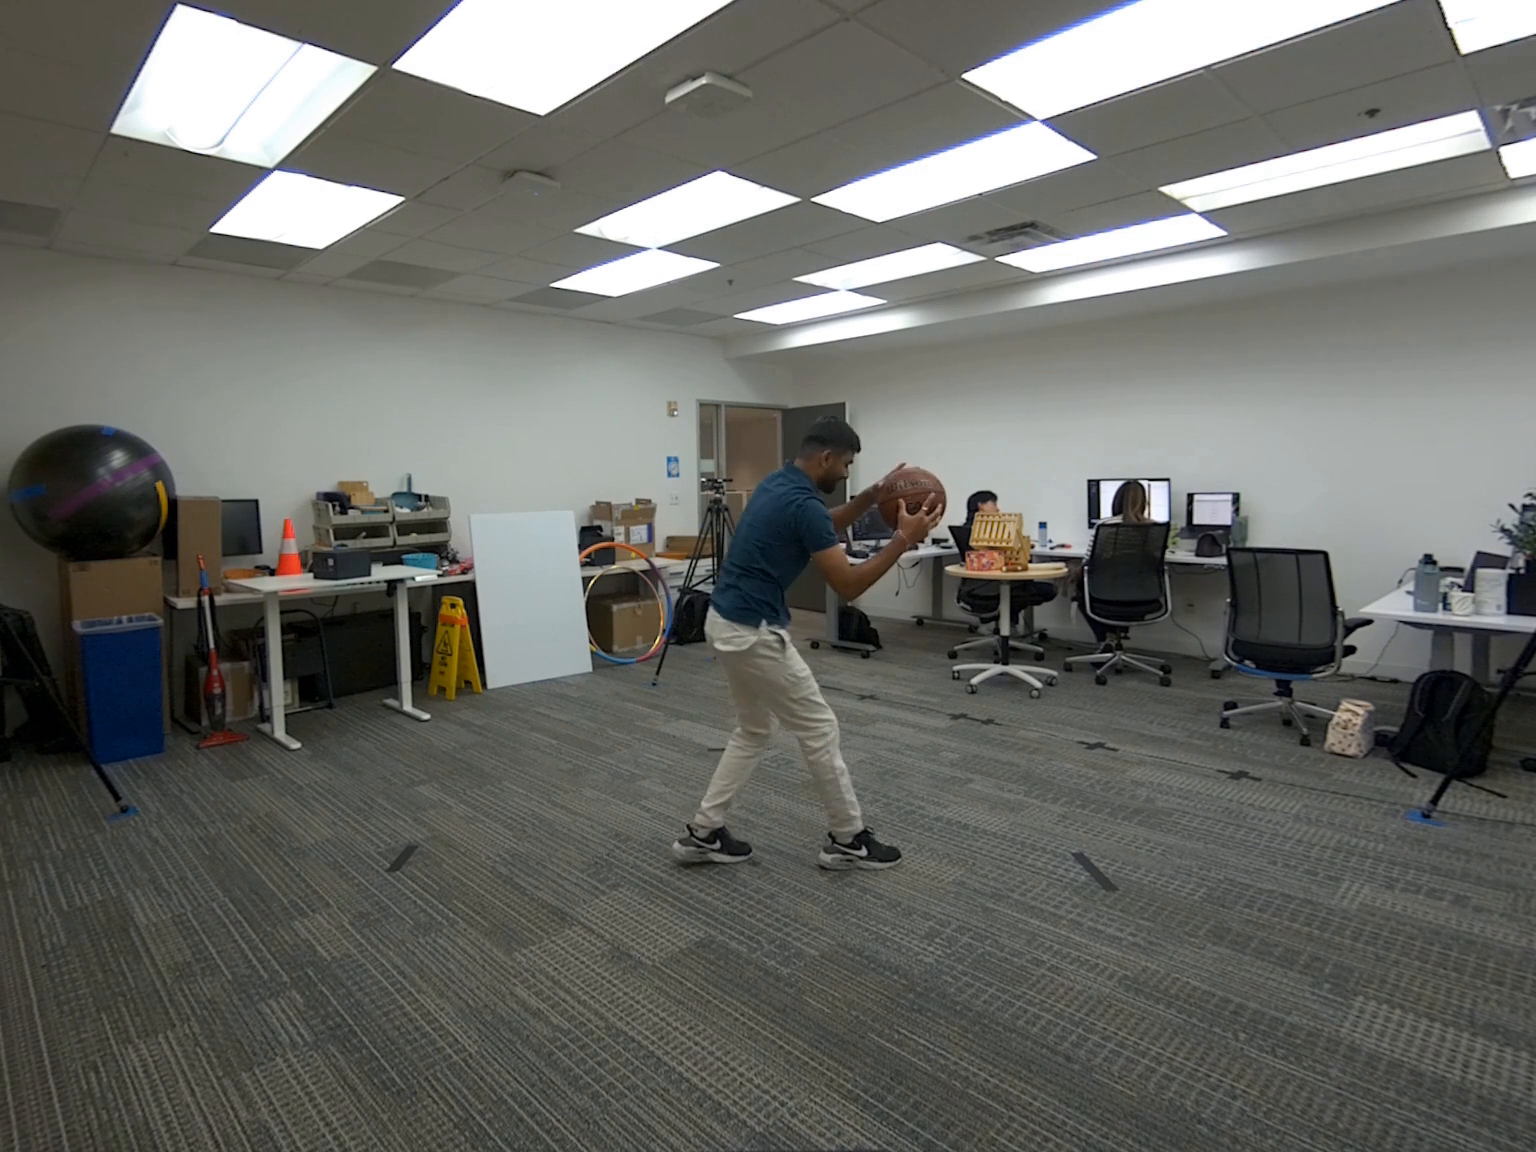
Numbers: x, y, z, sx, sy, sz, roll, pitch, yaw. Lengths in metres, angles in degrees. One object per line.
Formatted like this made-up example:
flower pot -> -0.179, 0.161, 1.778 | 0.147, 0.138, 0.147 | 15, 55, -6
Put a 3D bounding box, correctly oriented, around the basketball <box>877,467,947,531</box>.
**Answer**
basketball -> 0.532, -0.273, 3.027 | 0.236, 0.235, 0.237 | -1, 5, -2
